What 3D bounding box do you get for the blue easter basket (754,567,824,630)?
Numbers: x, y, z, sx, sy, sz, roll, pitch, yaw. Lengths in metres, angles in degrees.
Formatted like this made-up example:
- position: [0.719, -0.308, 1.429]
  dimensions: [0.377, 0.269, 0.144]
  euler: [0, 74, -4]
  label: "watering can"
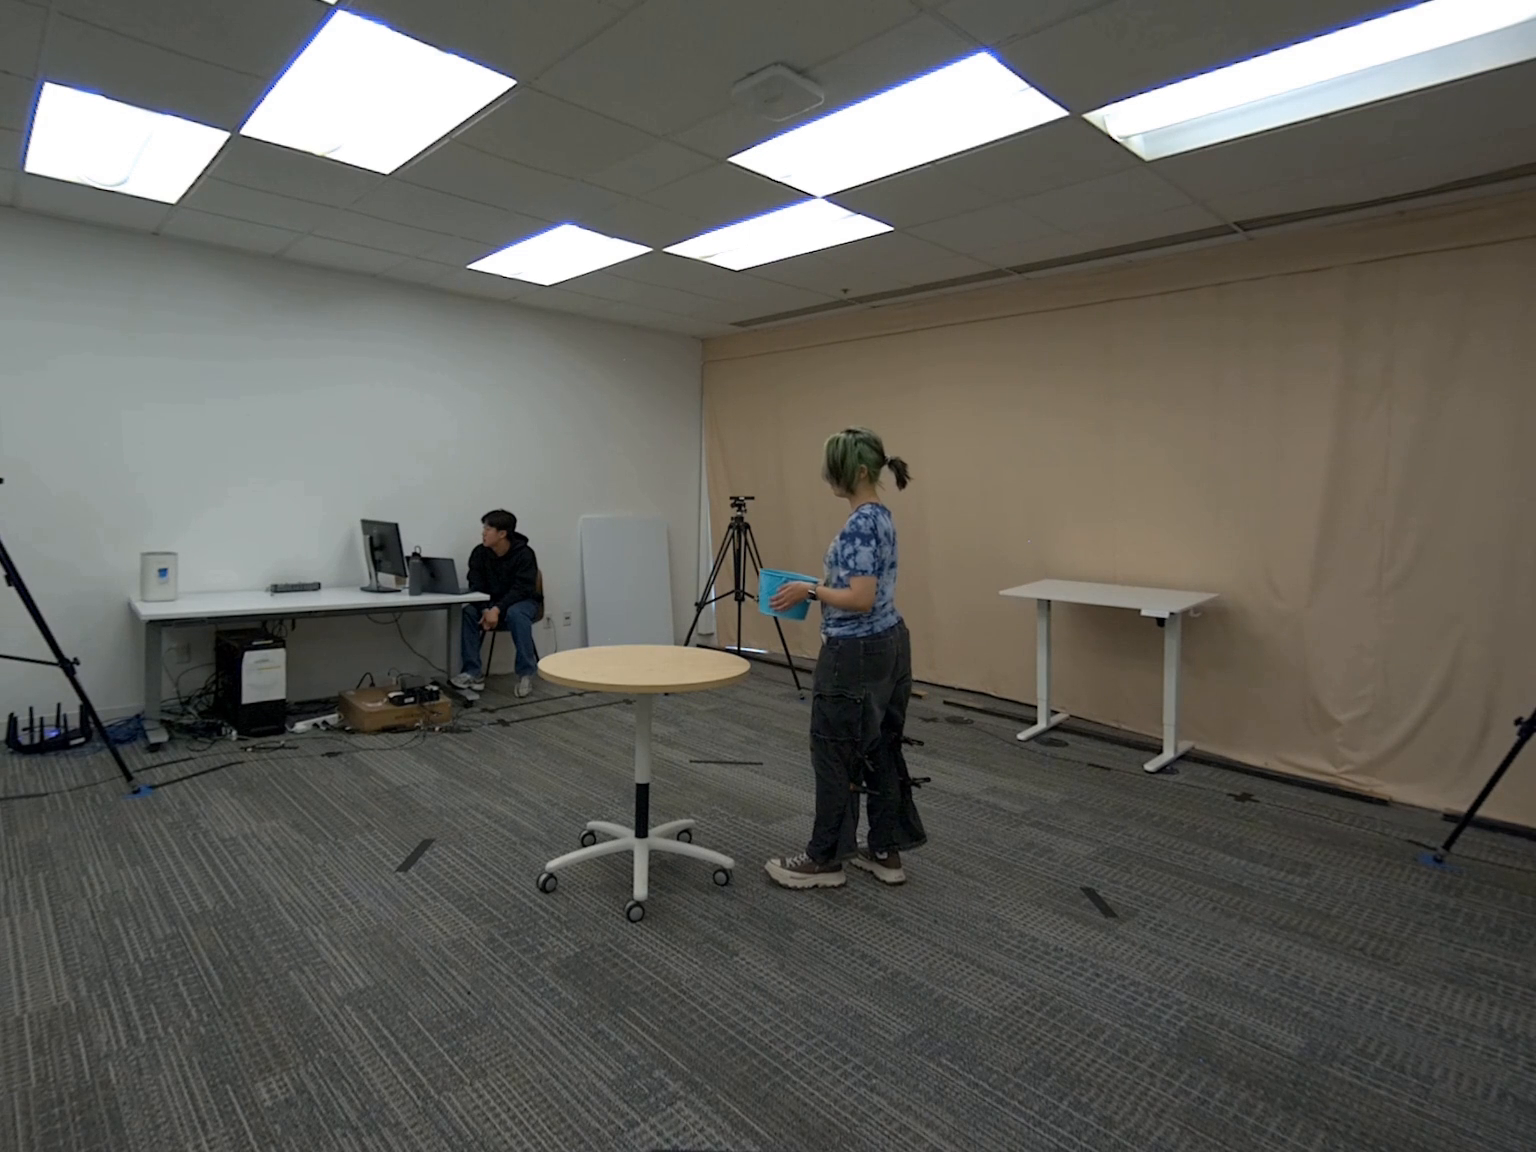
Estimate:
- position: [0.087, 0.080, 3.131]
  dimensions: [0.243, 0.155, 0.245]
  euler: [10, 7, -3]
  label: "blue easter basket"
